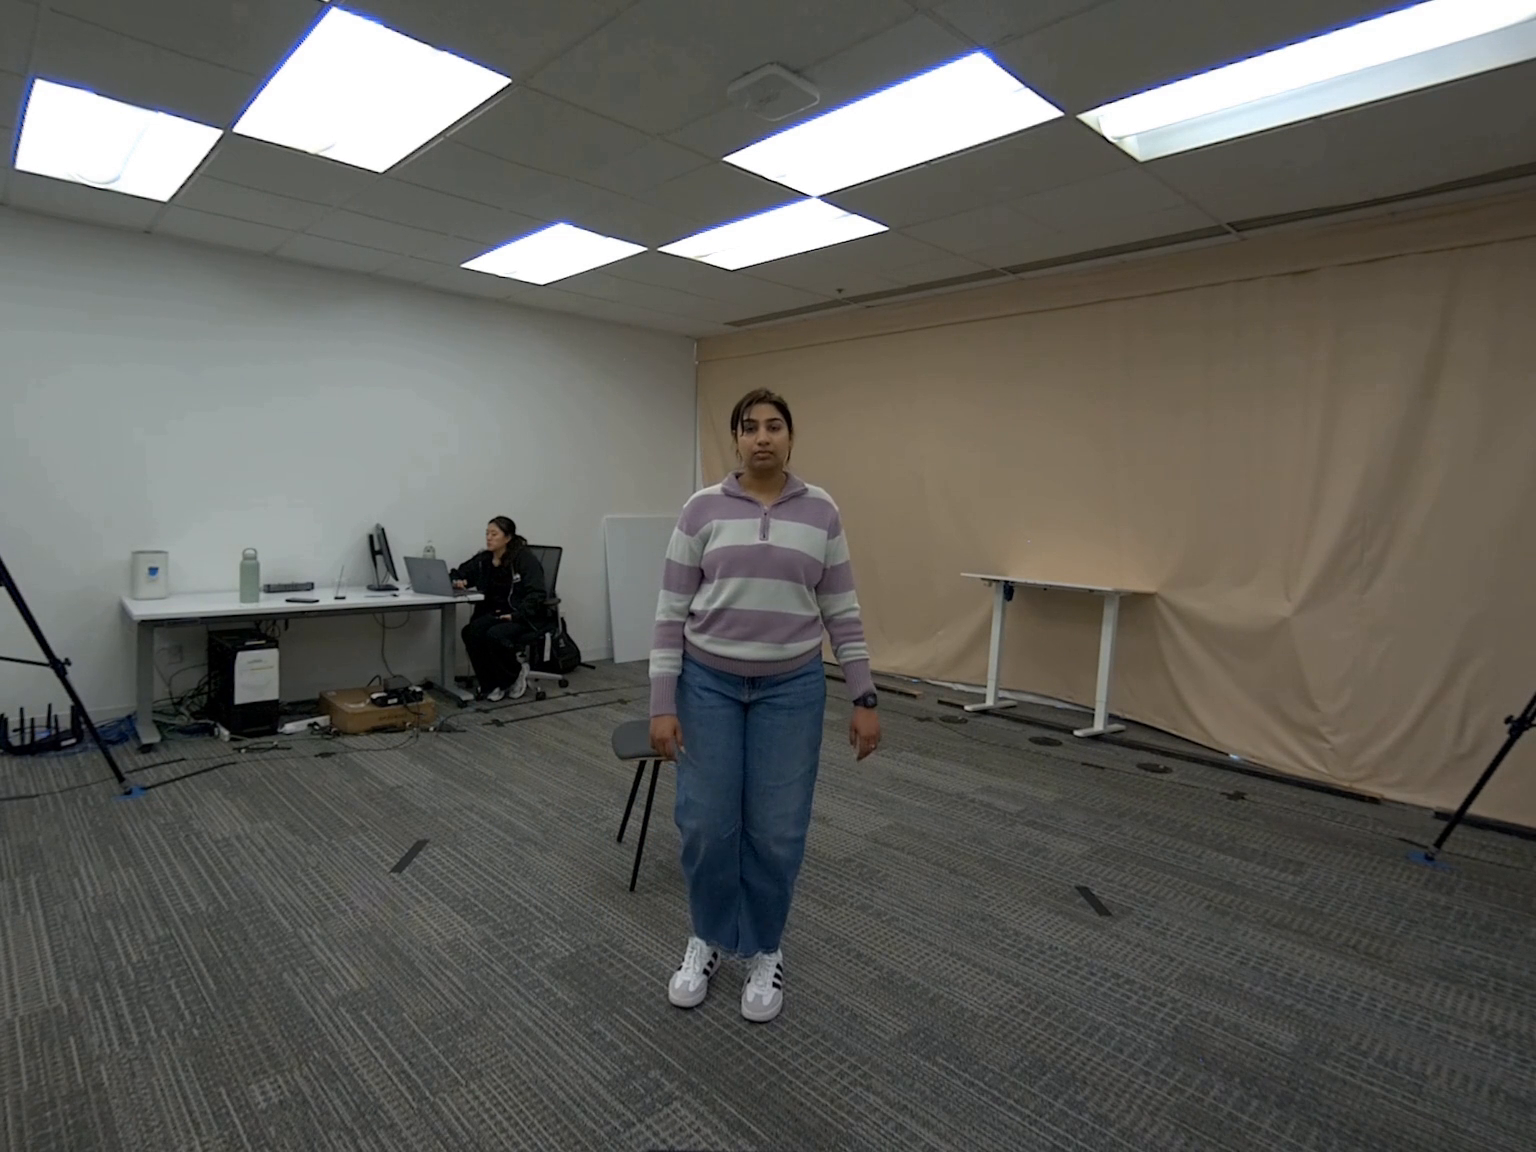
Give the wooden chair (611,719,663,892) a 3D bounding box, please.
[{"bbox_3d":[-0.330,0.668,3.188,0.517,0.876,0.485,4,3,-15],"label":"wooden chair"}]
